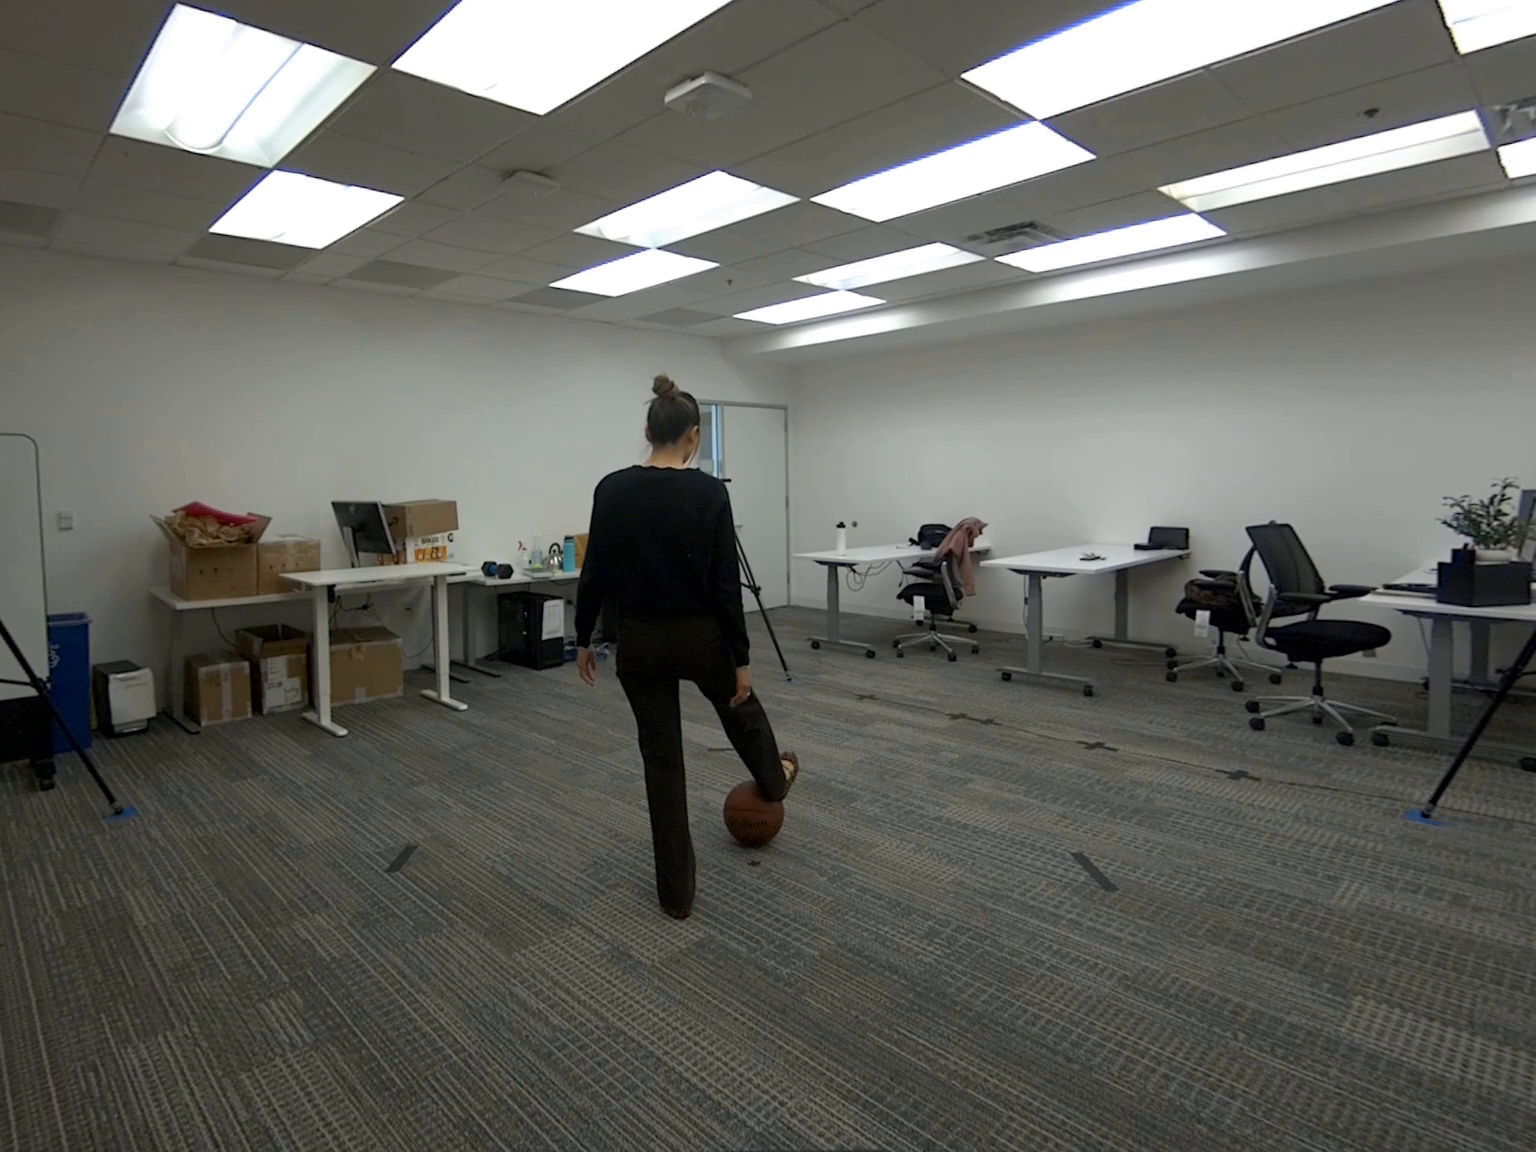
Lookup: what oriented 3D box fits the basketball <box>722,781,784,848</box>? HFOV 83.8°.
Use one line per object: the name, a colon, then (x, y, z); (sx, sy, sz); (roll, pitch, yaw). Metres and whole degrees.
basketball: (-0.058, 0.910, 3.292); (0.236, 0.235, 0.237); (-1, 5, -2)
